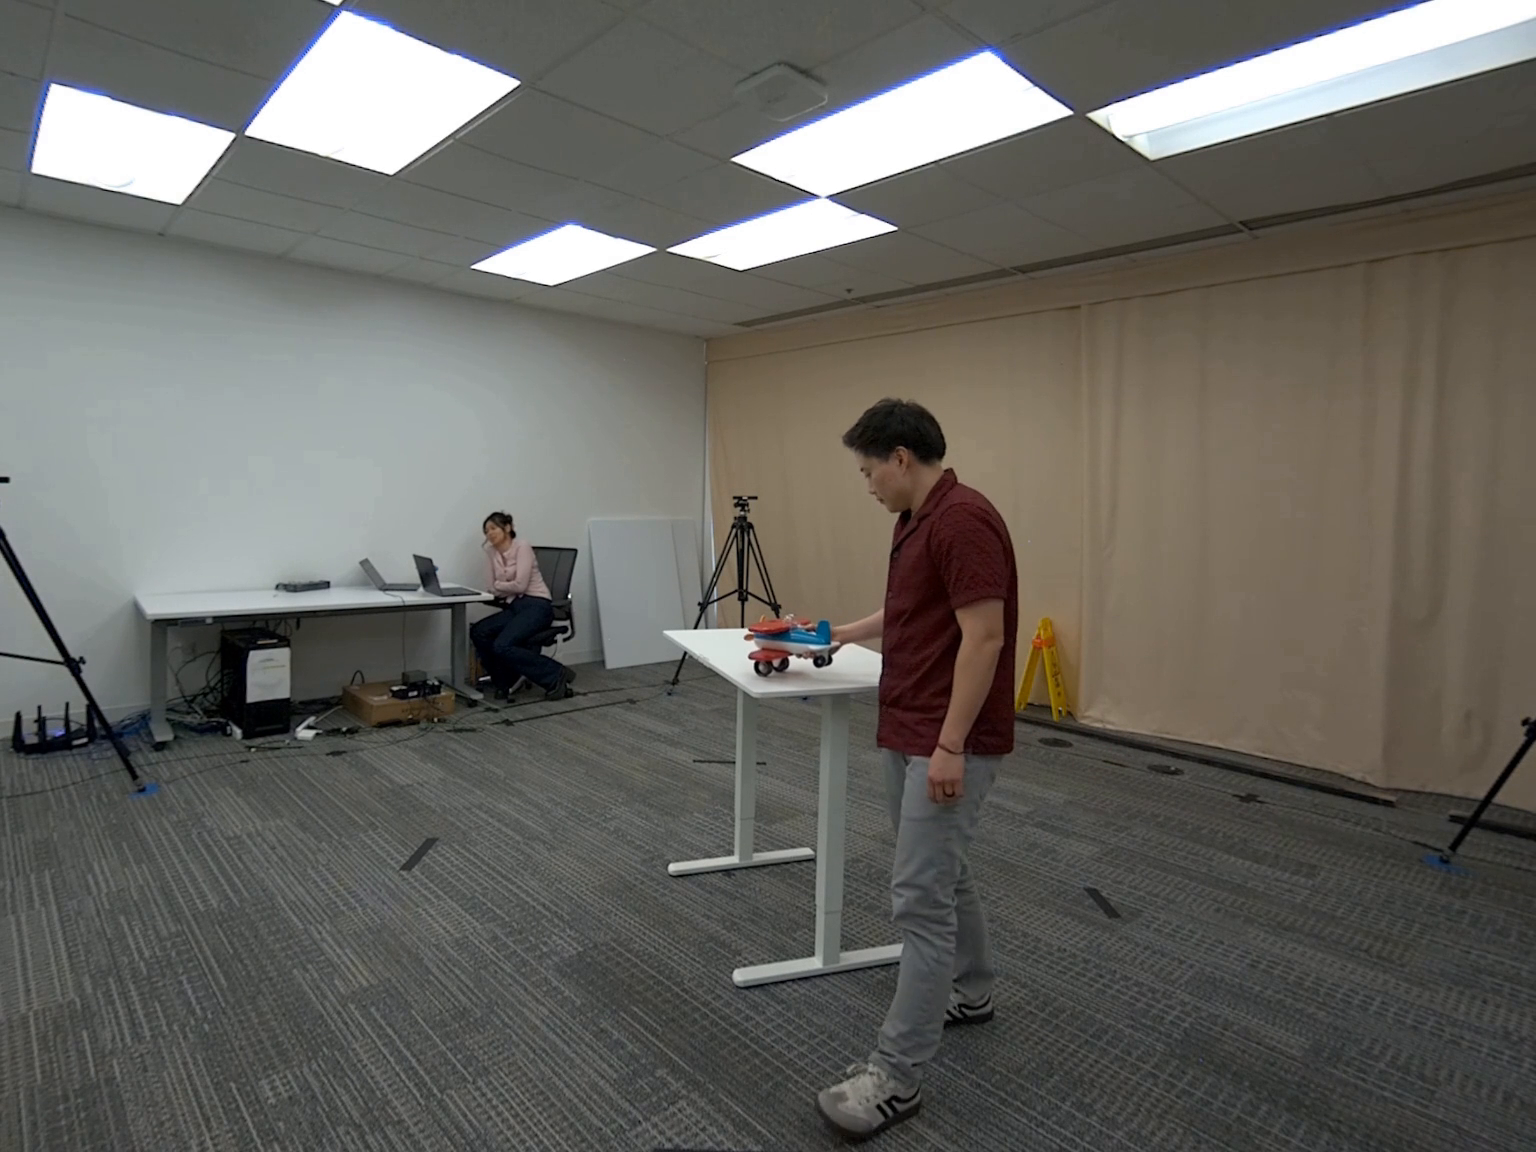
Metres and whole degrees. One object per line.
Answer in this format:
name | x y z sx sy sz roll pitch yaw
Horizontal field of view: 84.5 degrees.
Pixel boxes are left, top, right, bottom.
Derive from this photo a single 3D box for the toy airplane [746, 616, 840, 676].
toy airplane | 0.077 0.197 2.416 0.260 0.157 0.249 -13 -4 7
